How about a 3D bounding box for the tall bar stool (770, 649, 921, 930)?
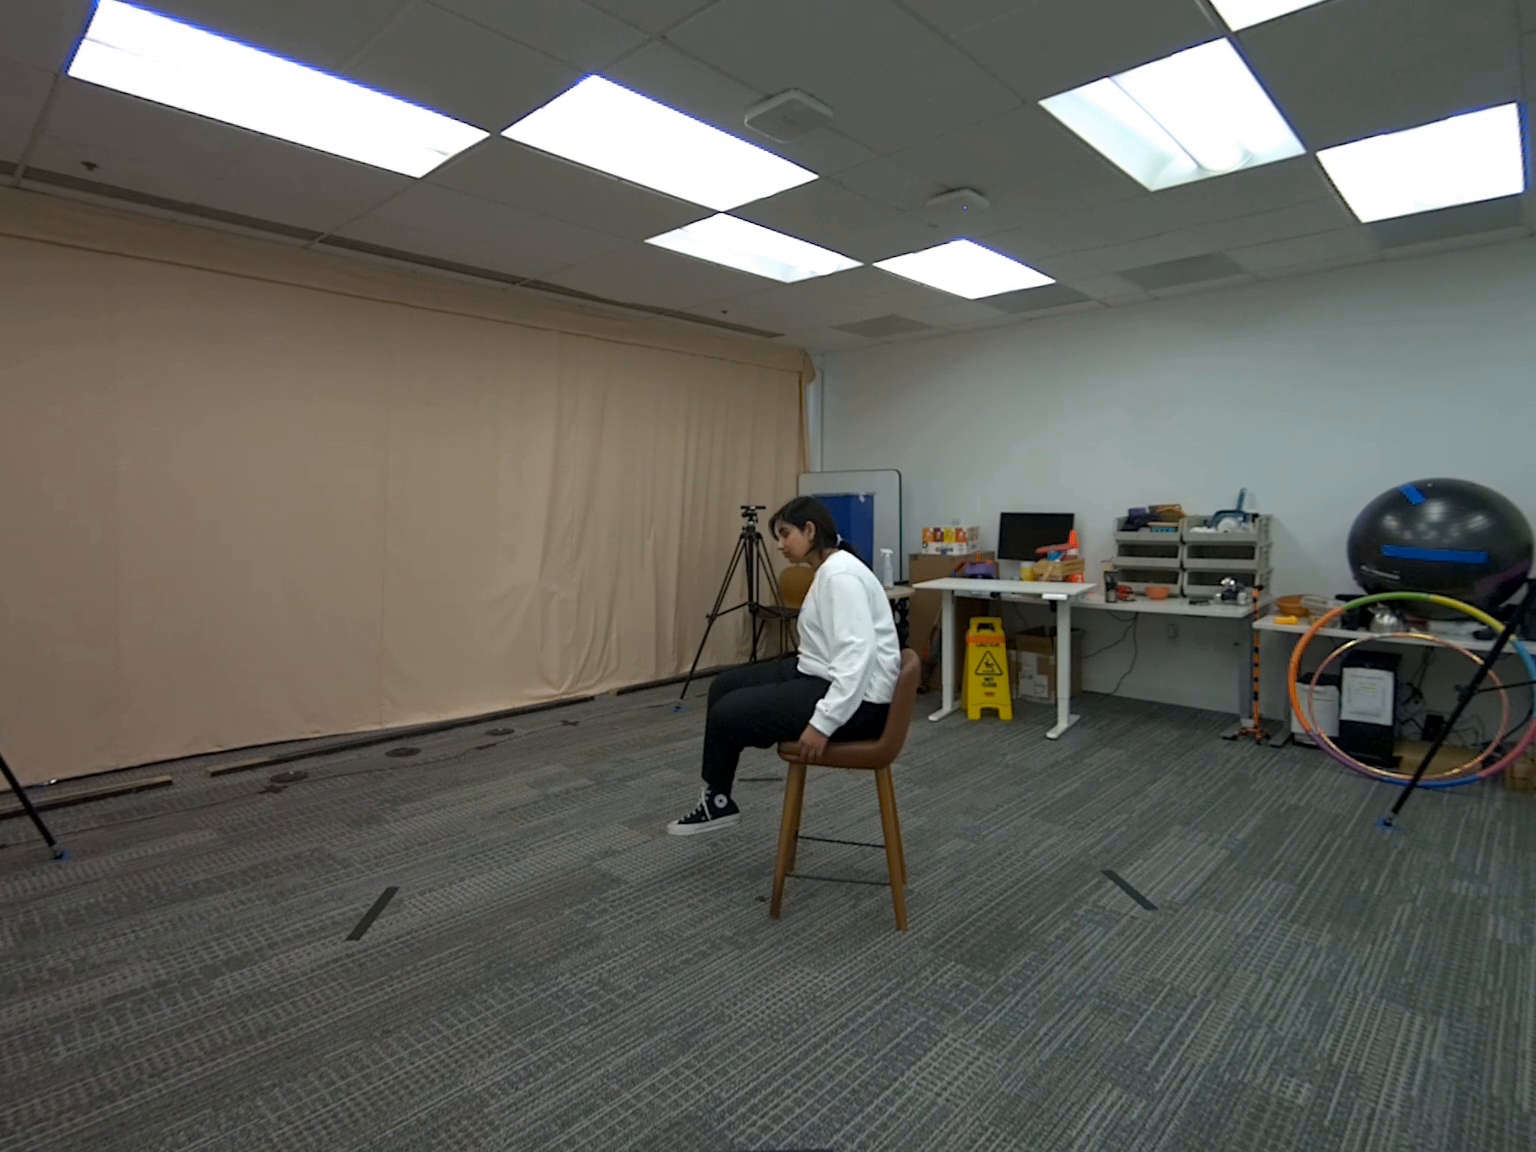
[{"bbox_3d":[0.276,0.713,2.949,0.474,0.887,0.451,3,4,12],"label":"tall bar stool"}]
